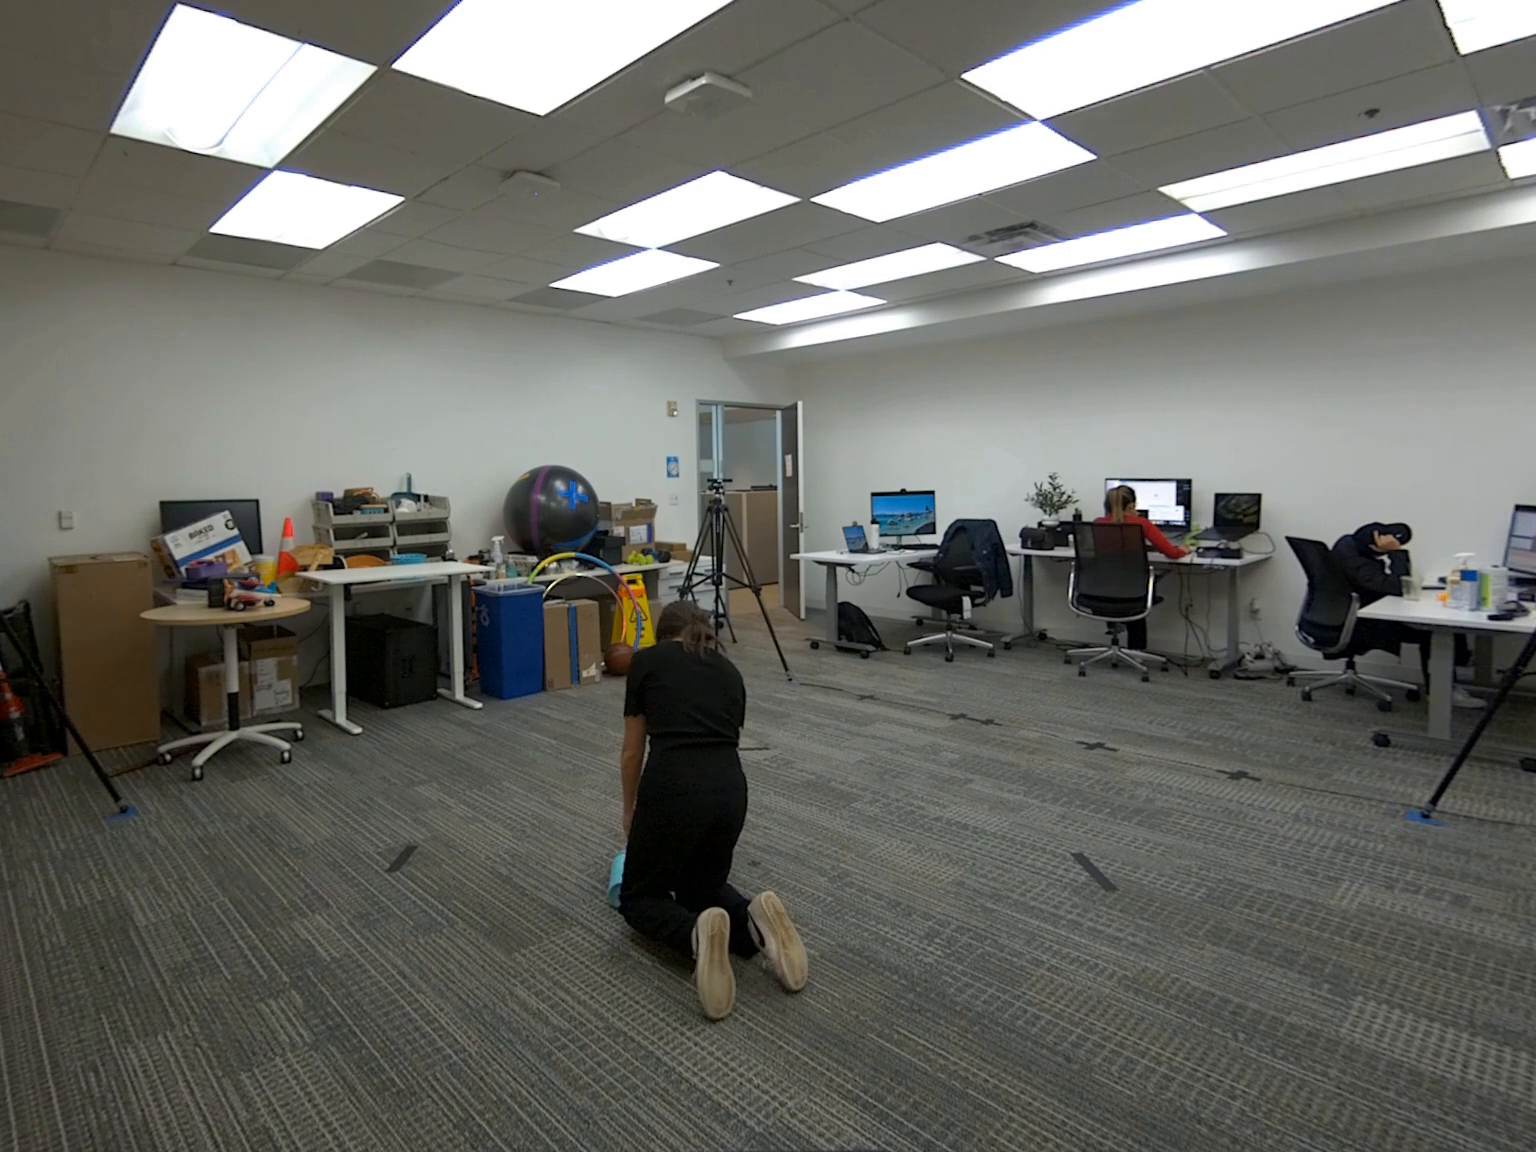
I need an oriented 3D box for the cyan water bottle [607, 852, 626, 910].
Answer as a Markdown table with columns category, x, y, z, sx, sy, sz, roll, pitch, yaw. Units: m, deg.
| category | x | y | z | sx | sy | sz | roll | pitch | yaw |
| --- | --- | --- | --- | --- | --- | --- | --- | --- | --- |
| cyan water bottle | -0.489 | 1.026 | 2.929 | 0.092 | 0.092 | 0.286 | -1 | 6 | -5 |
